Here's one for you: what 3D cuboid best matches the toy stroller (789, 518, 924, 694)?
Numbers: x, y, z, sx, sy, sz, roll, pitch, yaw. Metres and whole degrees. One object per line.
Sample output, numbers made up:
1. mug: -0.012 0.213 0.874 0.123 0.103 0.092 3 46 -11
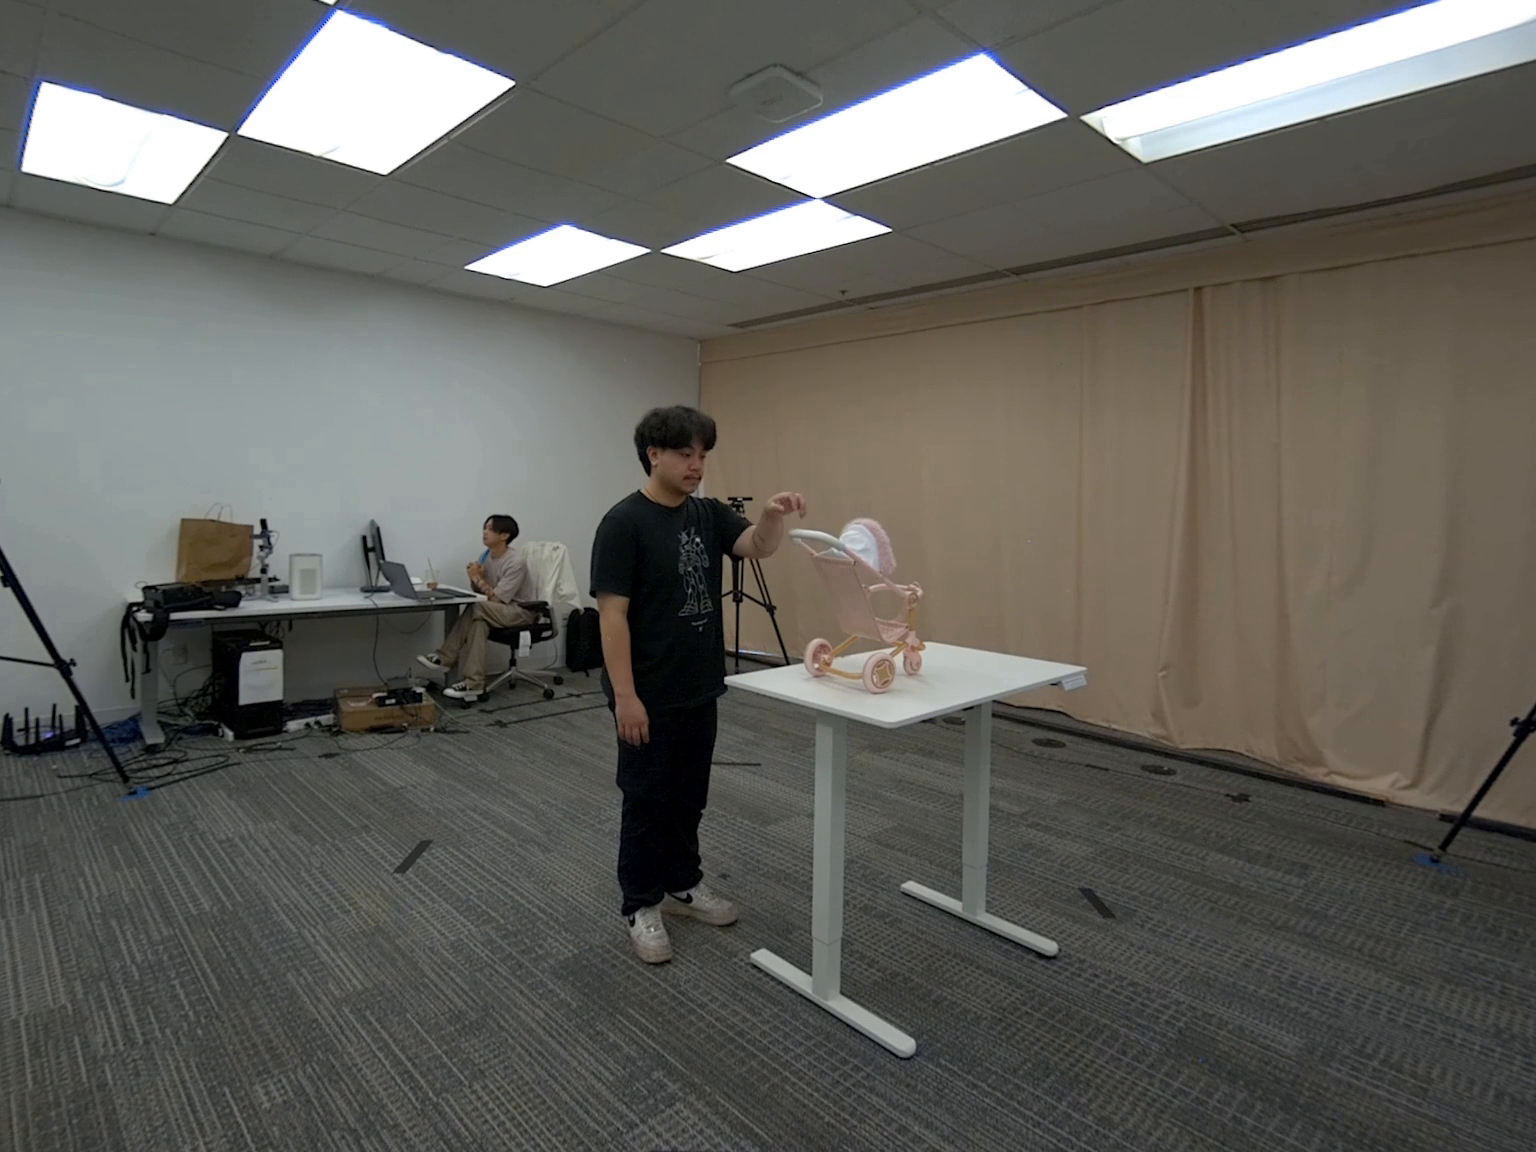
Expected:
1. toy stroller: 0.279 0.079 2.374 0.337 0.529 0.288 -19 13 -29
